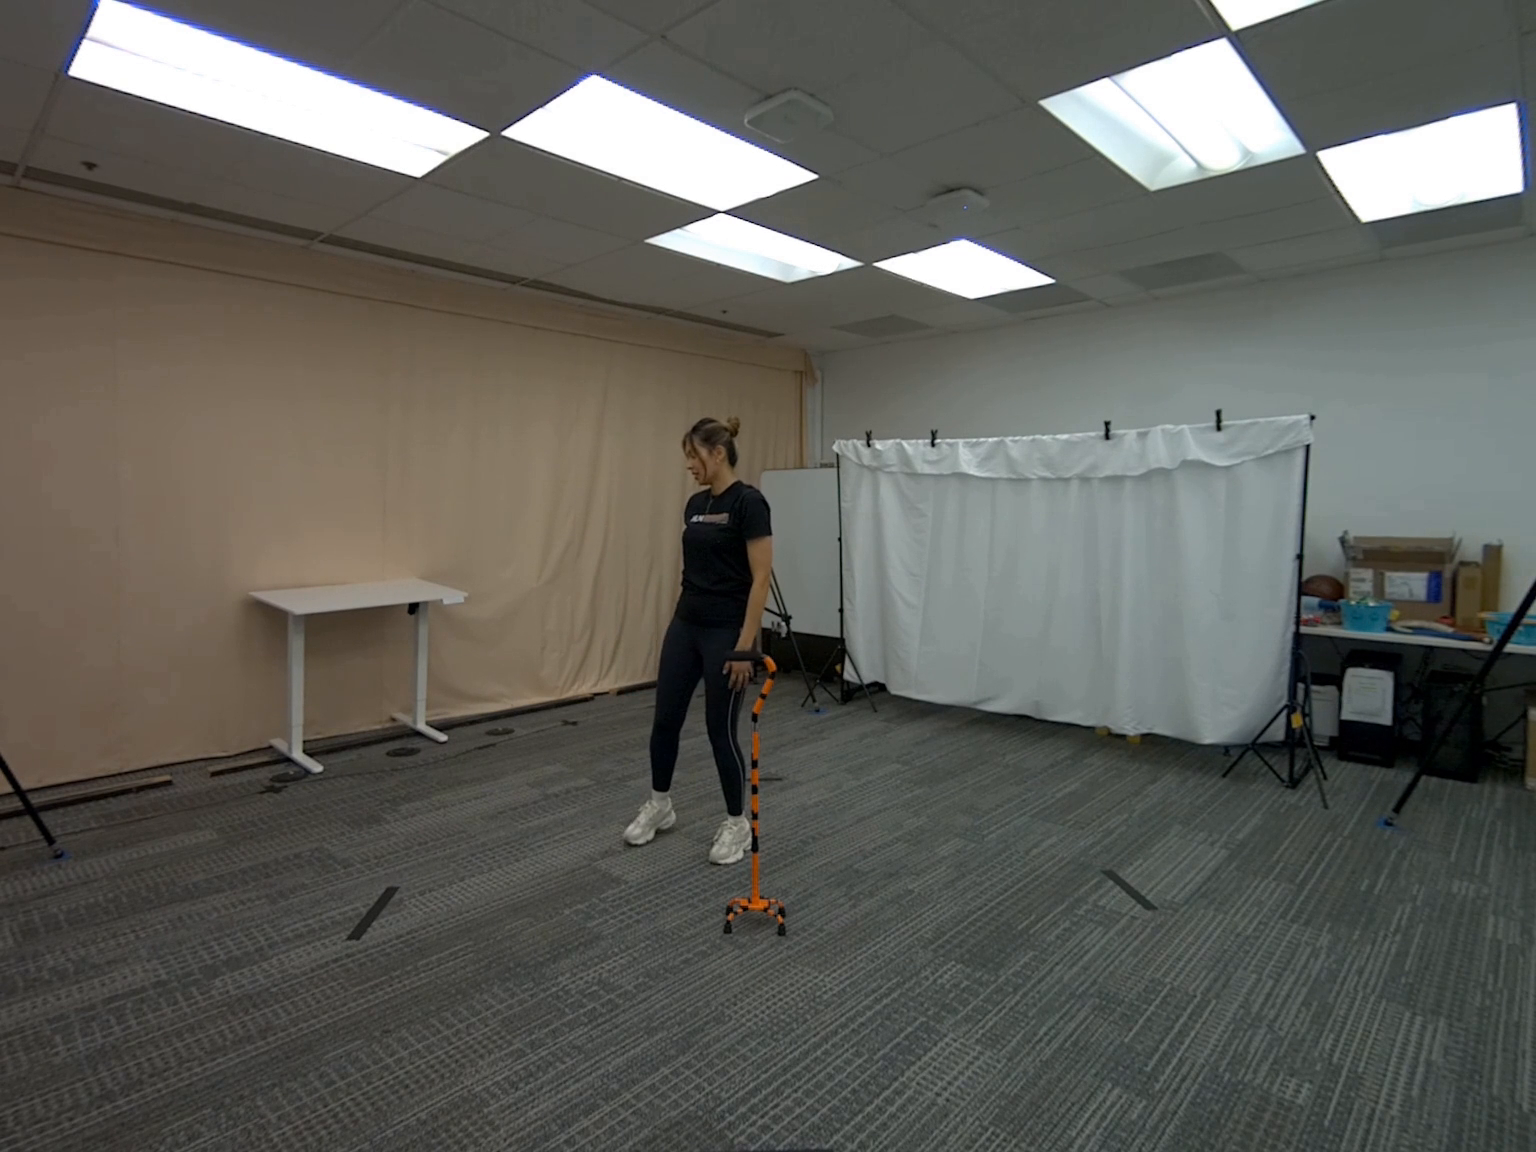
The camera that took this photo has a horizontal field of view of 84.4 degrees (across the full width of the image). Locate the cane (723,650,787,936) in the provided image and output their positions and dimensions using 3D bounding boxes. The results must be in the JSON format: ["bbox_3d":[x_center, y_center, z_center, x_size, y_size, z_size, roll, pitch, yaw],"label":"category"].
[{"bbox_3d":[-0.039,0.709,2.785,0.207,0.906,0.151,1,3,1],"label":"cane"}]
